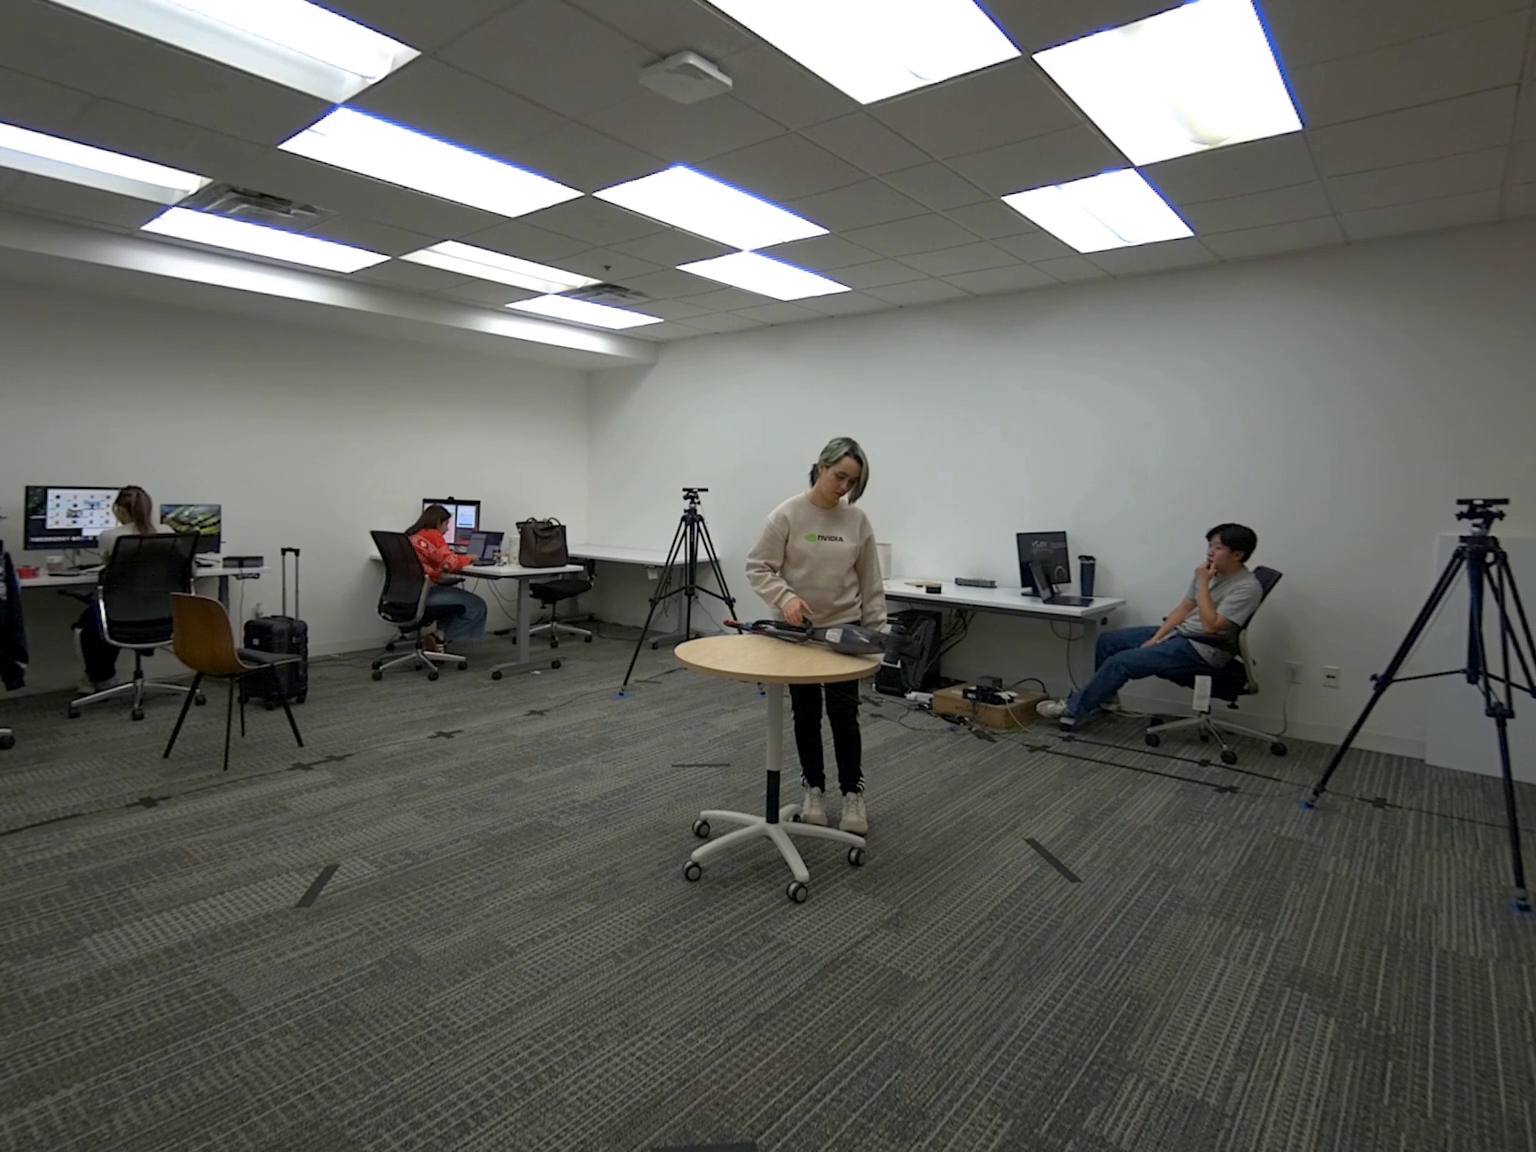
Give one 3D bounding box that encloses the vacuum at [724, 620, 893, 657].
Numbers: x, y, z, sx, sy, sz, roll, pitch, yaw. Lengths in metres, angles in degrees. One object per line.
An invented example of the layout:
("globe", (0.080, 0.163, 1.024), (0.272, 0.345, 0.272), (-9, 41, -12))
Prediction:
("vacuum", (0.157, 0.235, 3.389), (0.139, 0.254, 1.082), (38, -19, -32))
